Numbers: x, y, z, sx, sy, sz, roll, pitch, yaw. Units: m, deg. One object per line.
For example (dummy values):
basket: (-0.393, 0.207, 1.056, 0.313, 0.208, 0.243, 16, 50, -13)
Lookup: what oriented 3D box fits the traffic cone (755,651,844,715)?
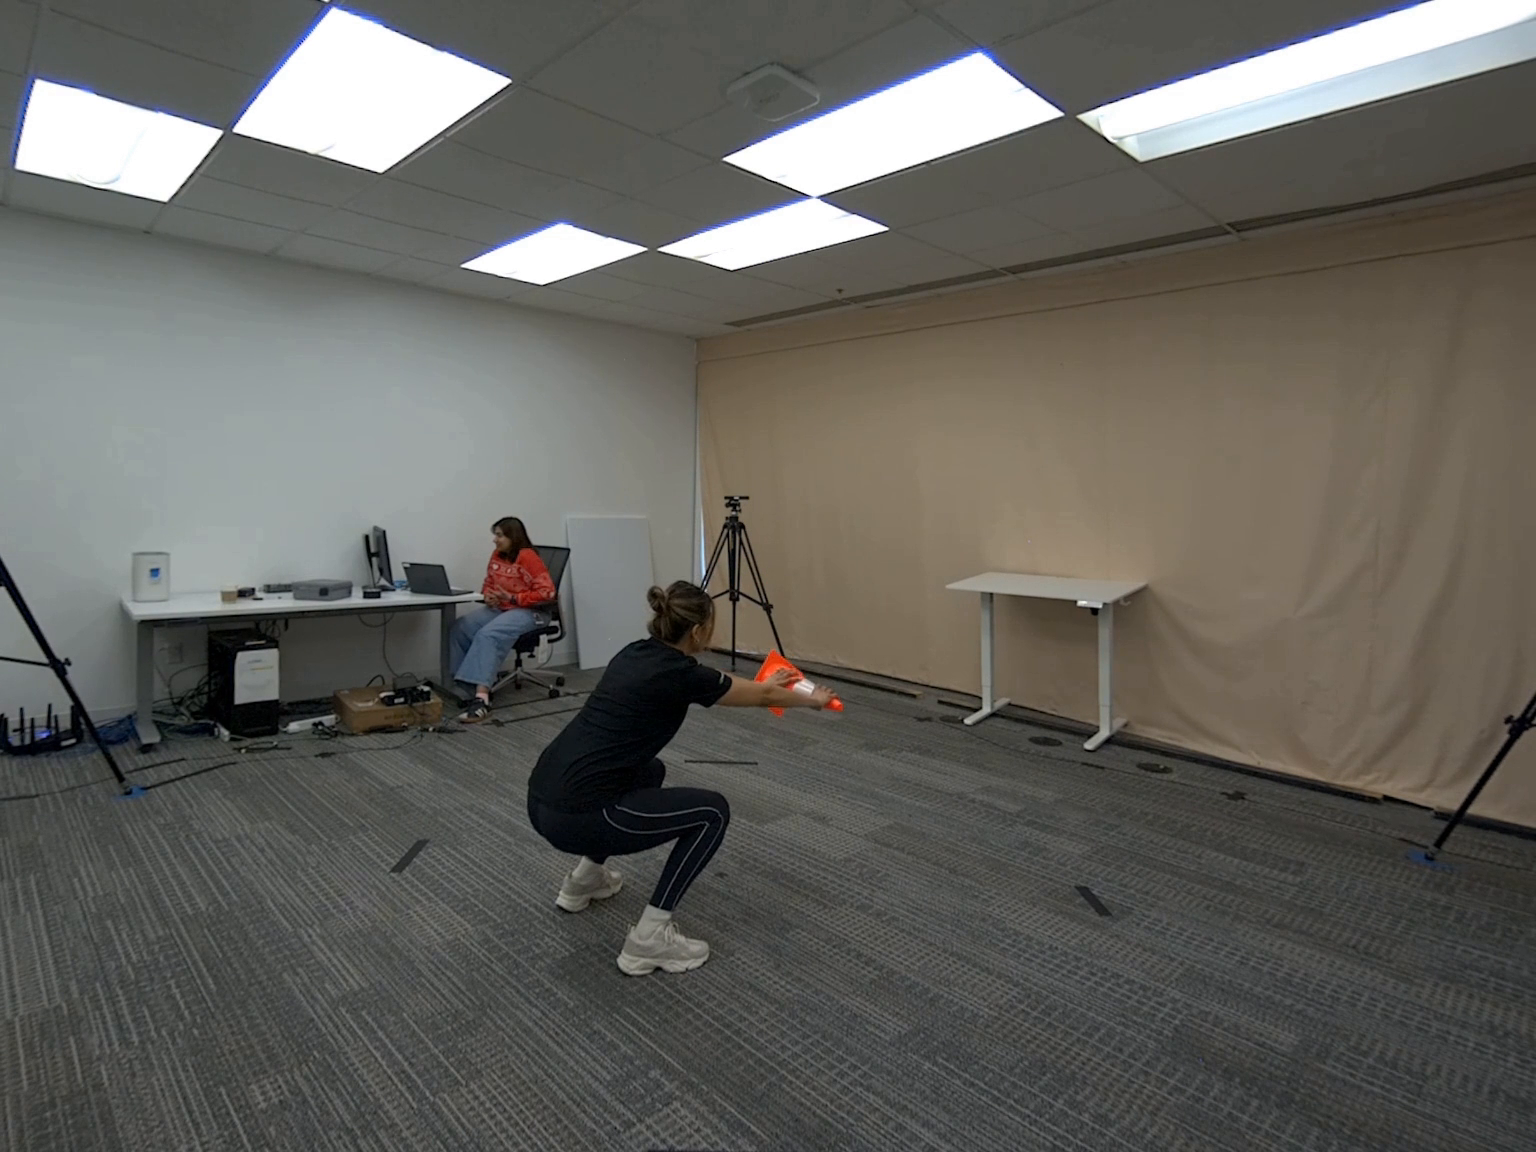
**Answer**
traffic cone: (0.133, 0.432, 3.143, 0.198, 0.205, 0.393, 41, -15, -31)
